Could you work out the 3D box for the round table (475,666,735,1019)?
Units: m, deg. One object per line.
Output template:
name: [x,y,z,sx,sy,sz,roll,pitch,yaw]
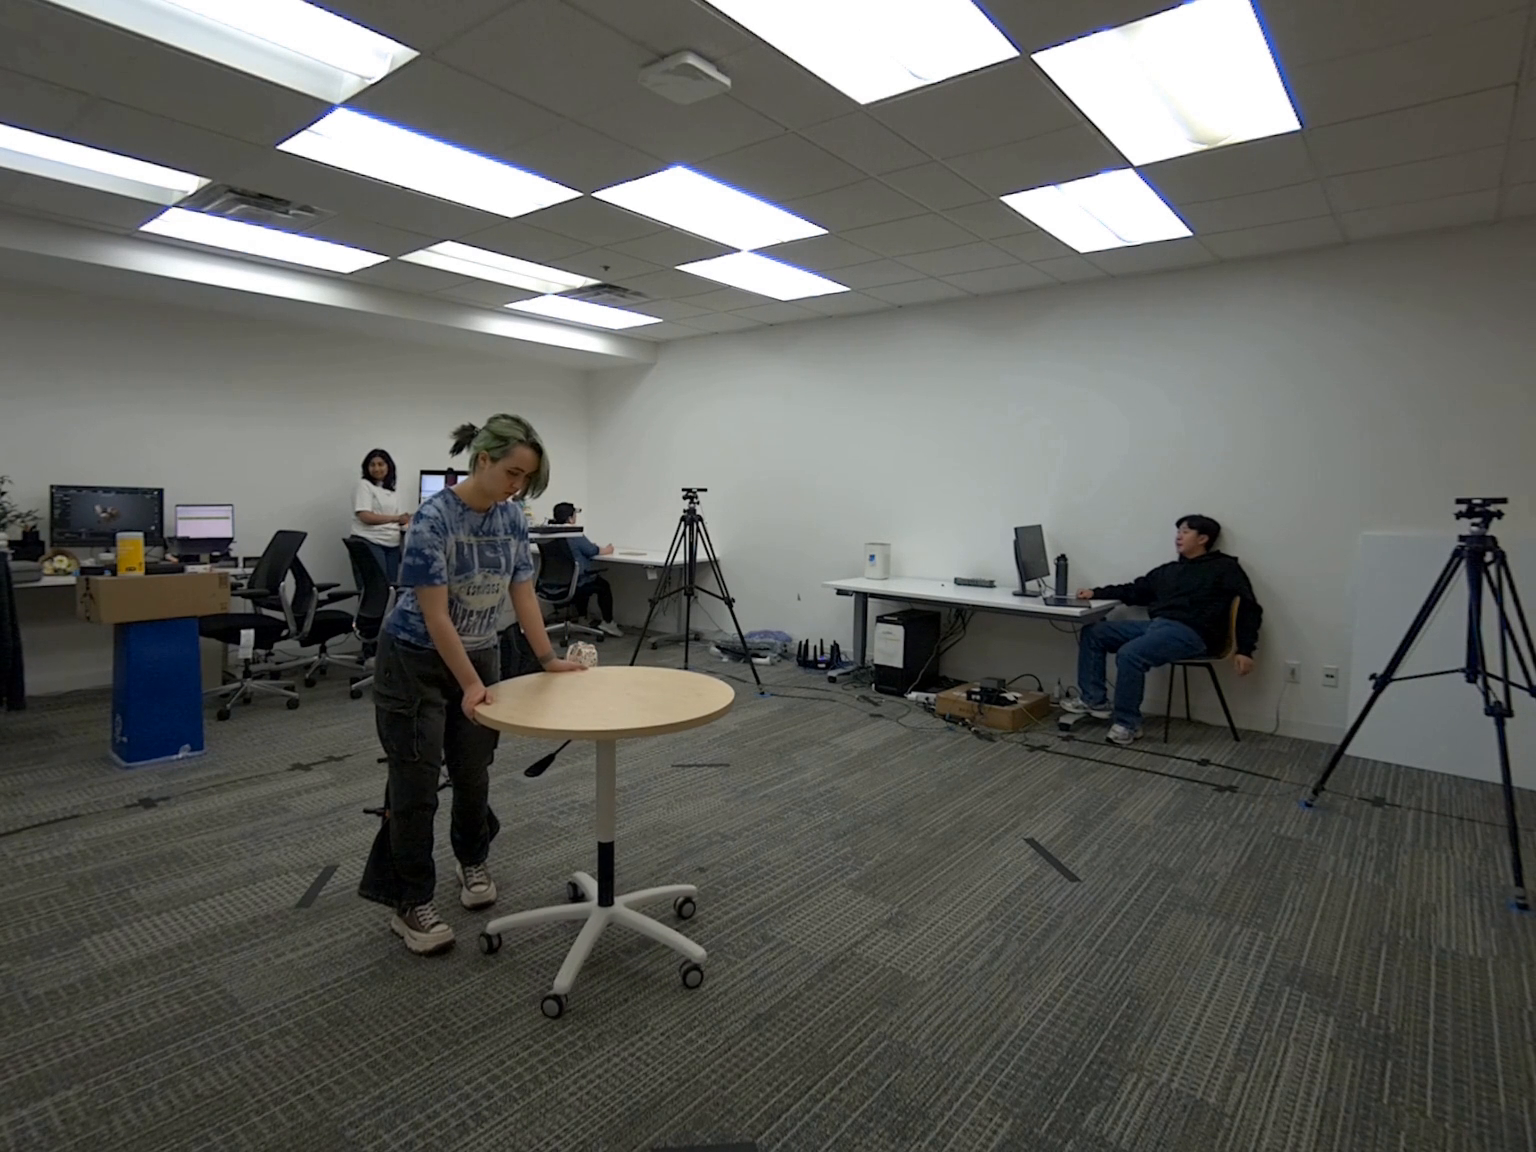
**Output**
round table: [-0.491,0.737,2.534,0.763,0.791,0.768,0,4,-2]
